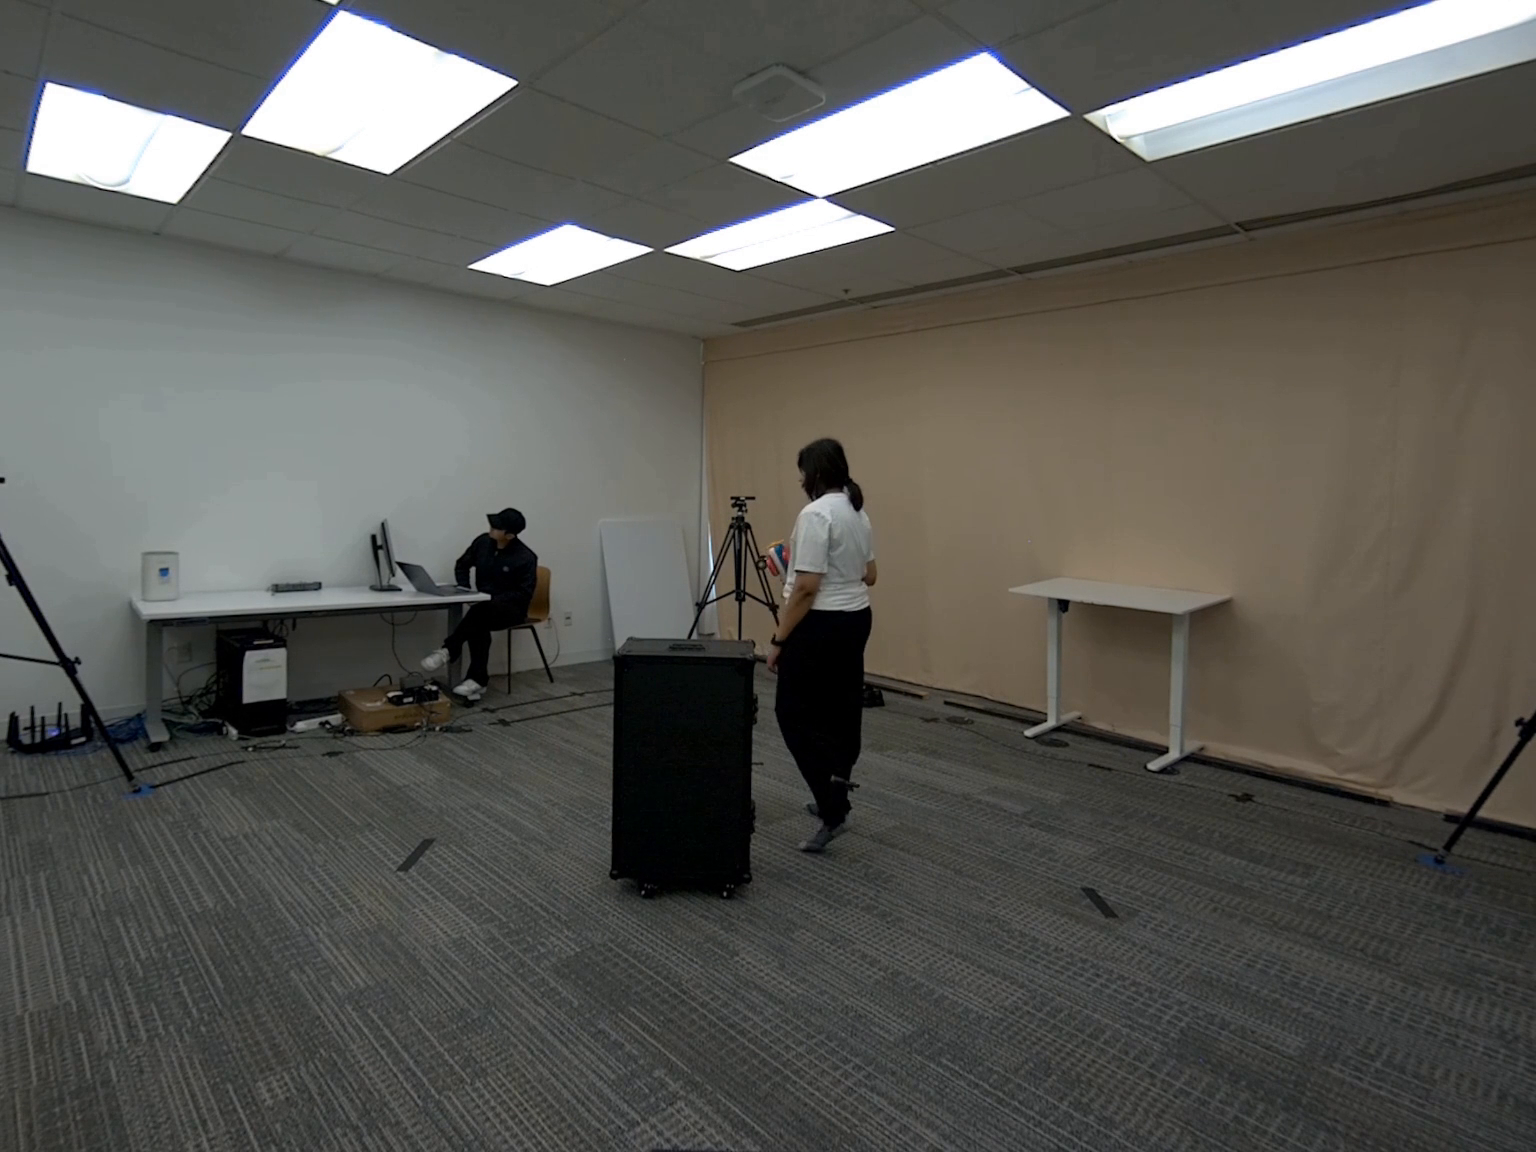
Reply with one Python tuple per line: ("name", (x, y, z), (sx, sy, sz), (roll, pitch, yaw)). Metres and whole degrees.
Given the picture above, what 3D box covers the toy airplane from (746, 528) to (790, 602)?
("toy airplane", (0.068, -0.030, 3.813), (0.252, 0.156, 0.258), (42, 13, -31))
